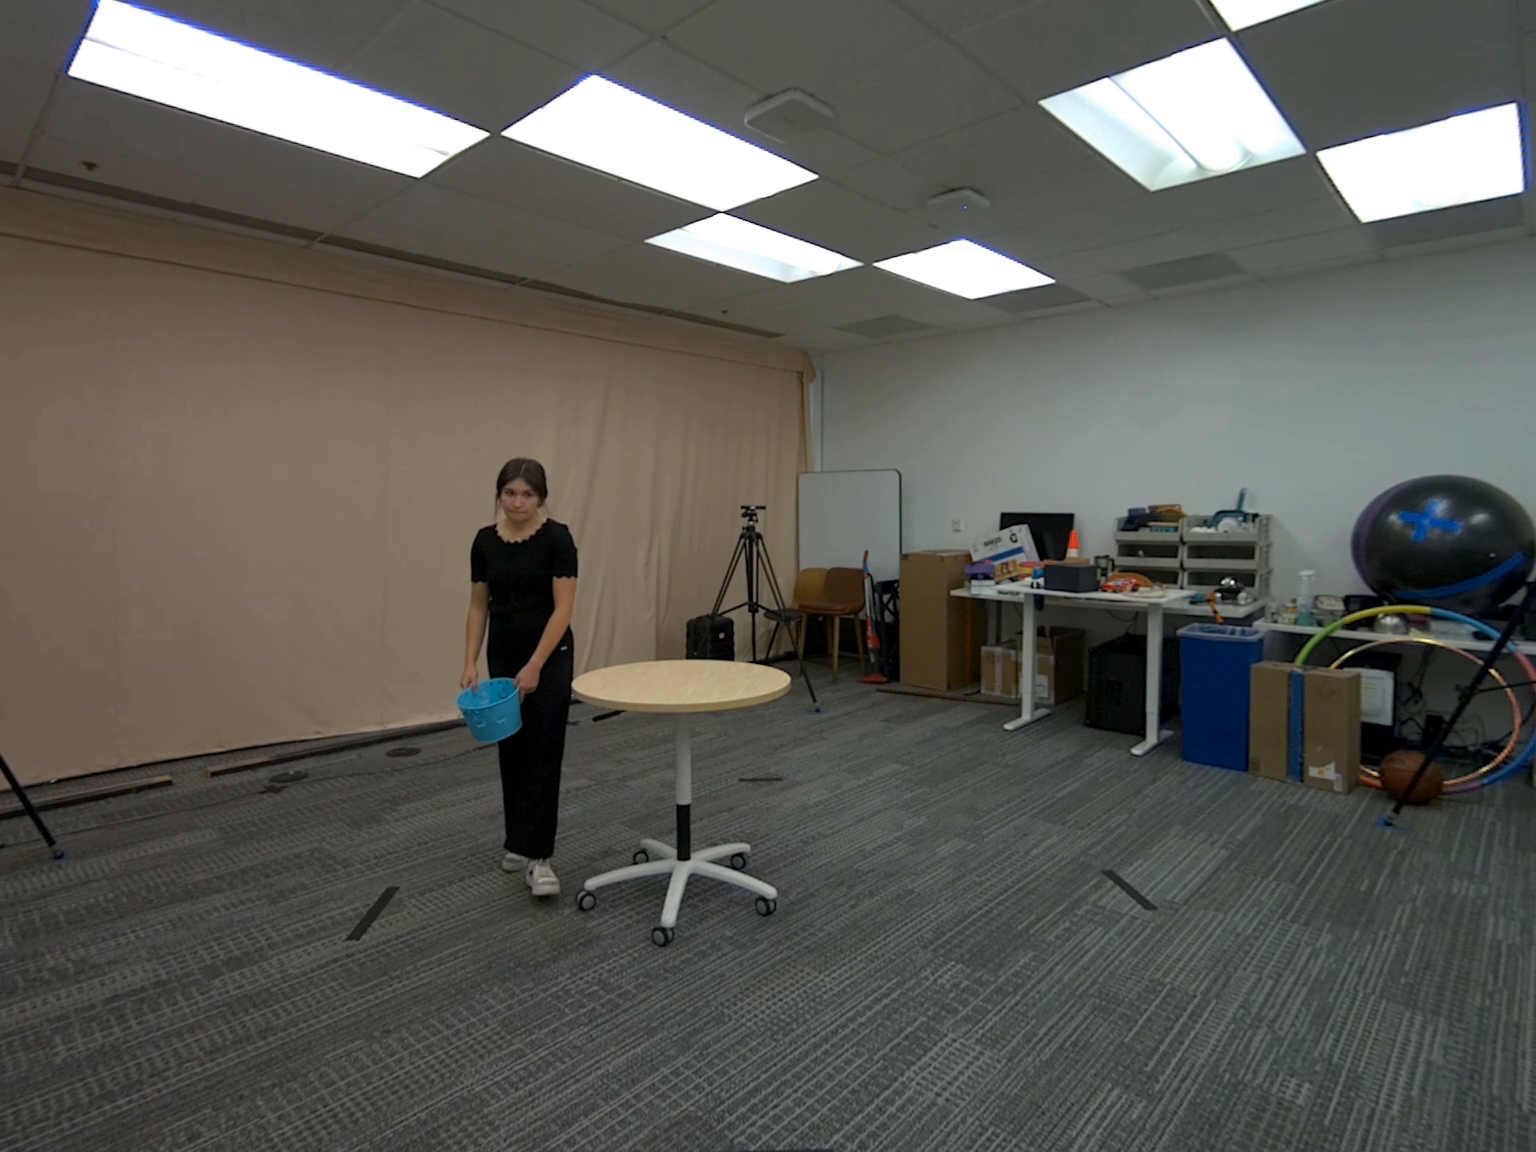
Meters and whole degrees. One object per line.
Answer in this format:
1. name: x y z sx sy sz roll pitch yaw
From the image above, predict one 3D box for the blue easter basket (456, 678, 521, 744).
1. blue easter basket: -1.011 0.493 3.103 0.244 0.154 0.246 -9 18 1
